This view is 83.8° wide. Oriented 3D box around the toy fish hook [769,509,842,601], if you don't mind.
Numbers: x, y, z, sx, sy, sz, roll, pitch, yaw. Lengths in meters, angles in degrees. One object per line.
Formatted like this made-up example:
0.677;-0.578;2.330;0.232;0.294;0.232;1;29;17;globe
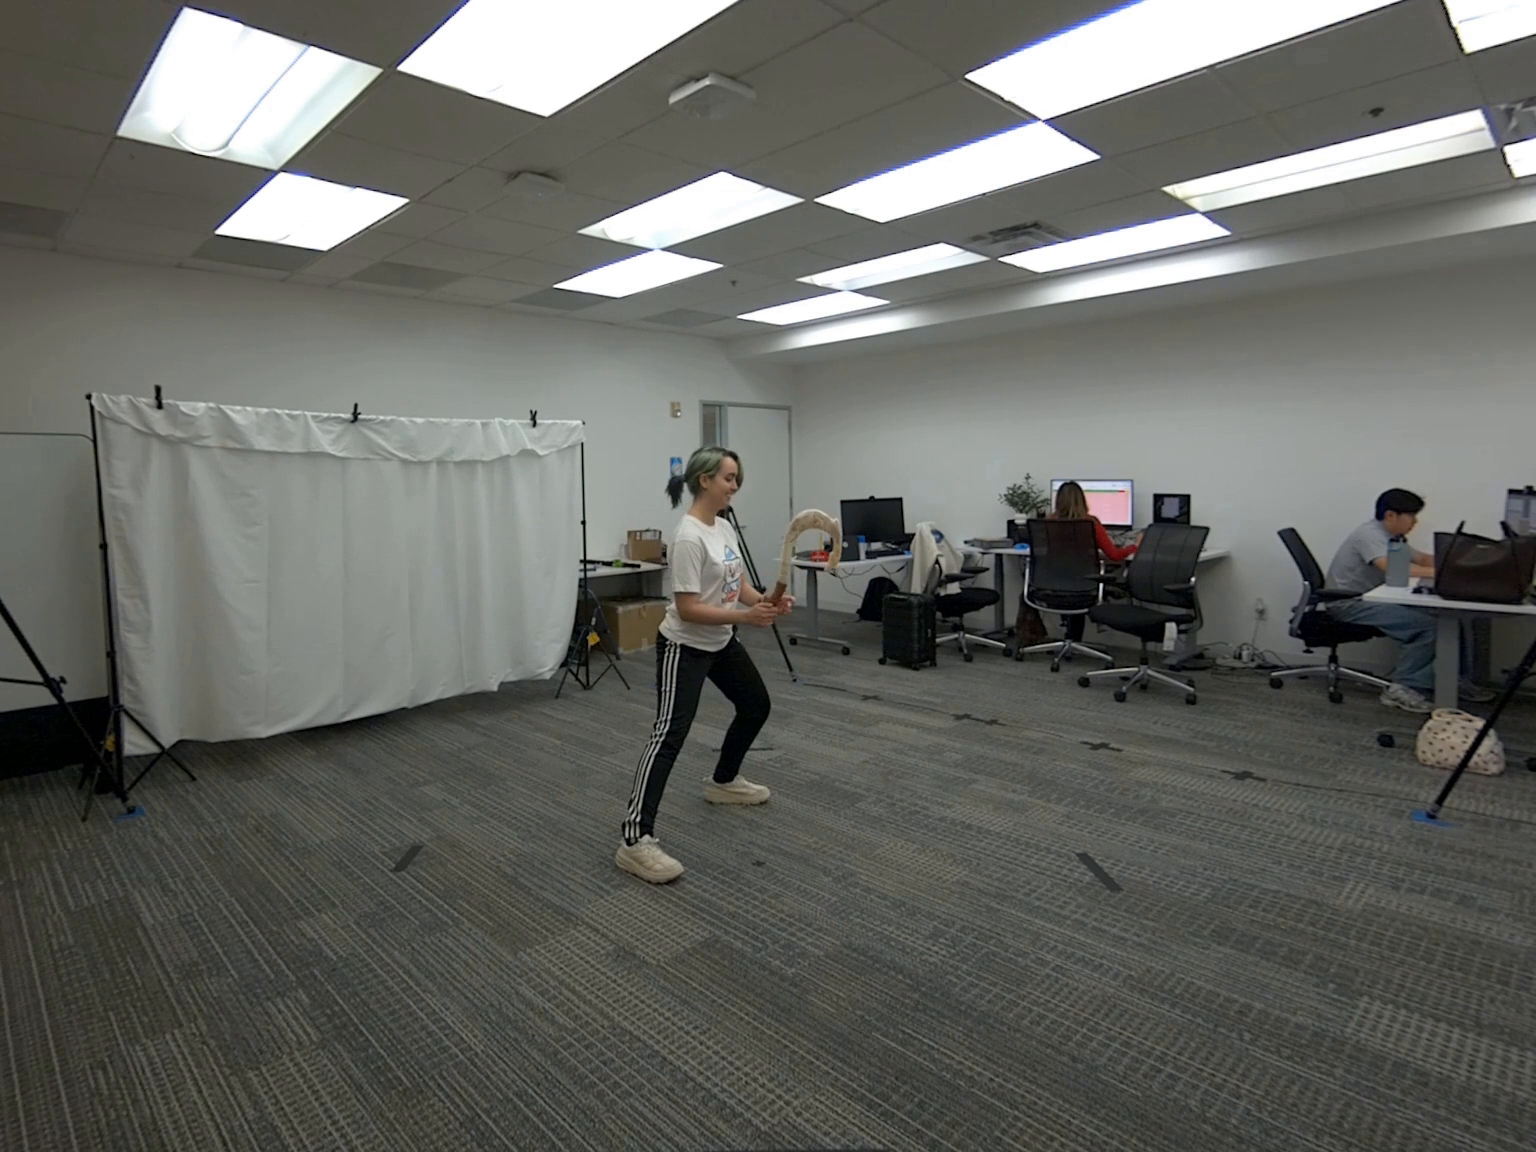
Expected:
0.122;-0.007;3.230;0.228;0.503;0.048;28;16;13;toy fish hook
